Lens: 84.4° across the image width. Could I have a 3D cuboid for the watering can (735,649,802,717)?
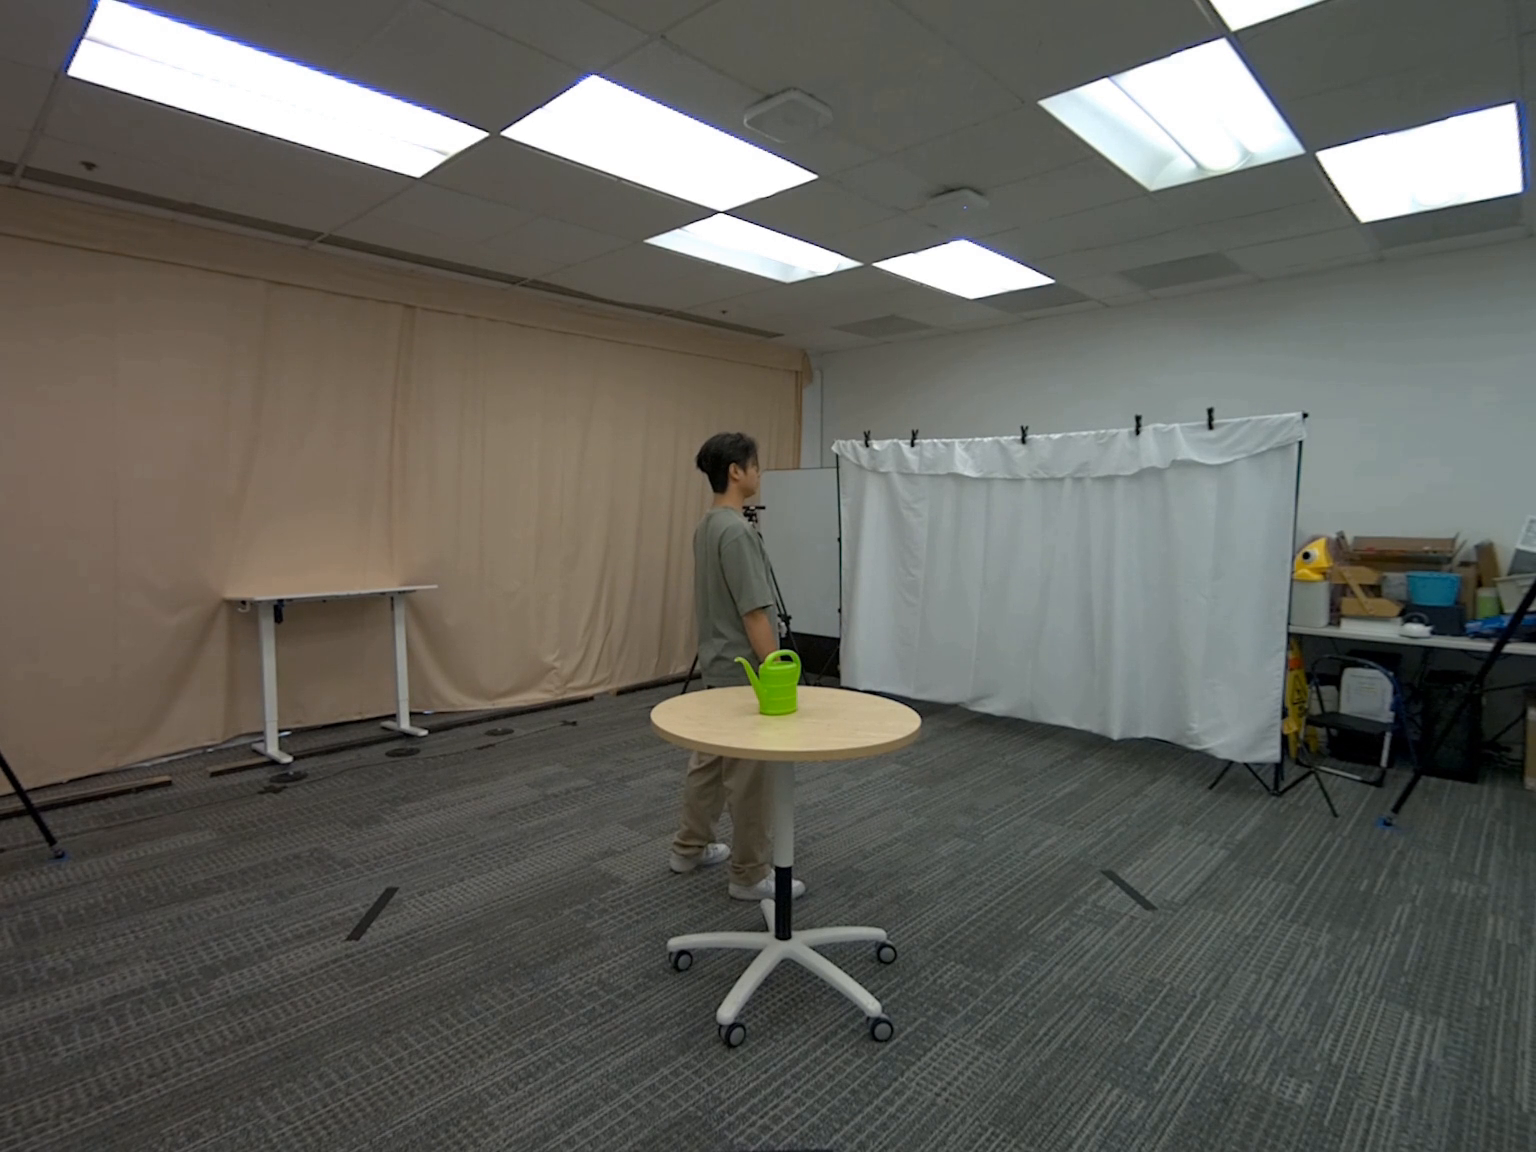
[{"bbox_3d":[0.001,0.310,2.413,0.270,0.176,0.101,-3,4,-36],"label":"watering can"}]
